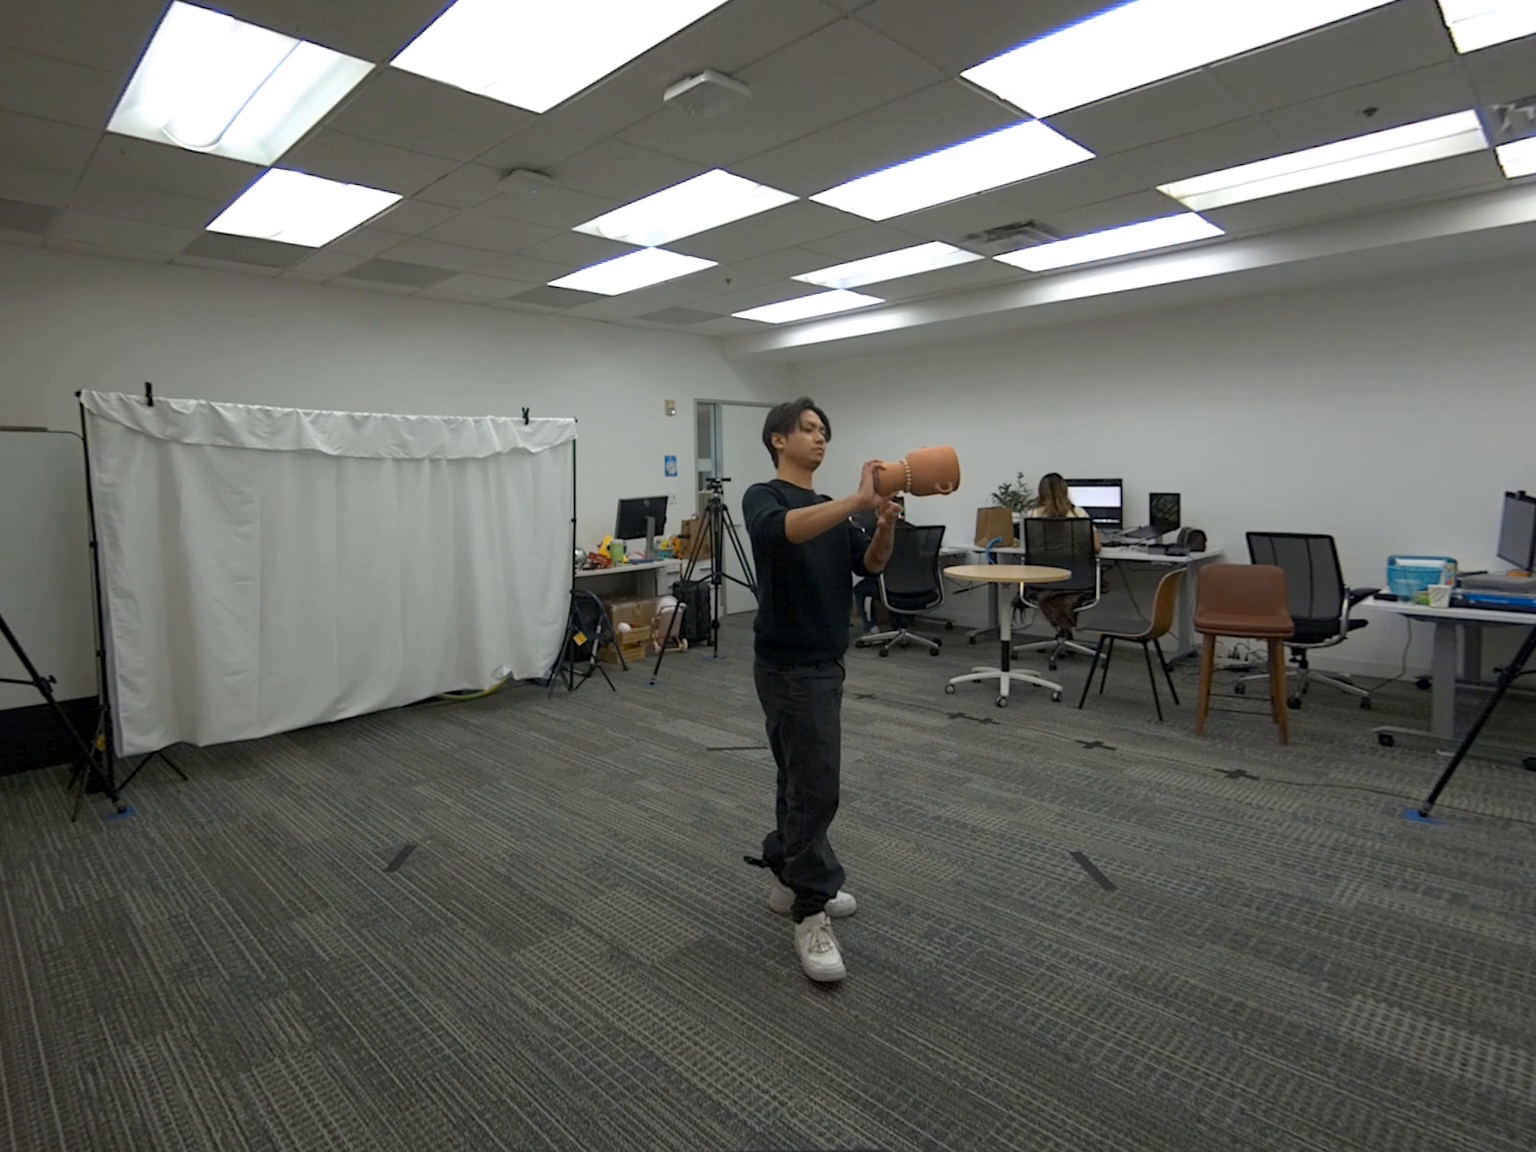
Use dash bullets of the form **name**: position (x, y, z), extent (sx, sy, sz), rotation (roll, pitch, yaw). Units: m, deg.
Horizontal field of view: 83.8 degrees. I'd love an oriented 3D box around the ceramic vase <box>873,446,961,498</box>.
- **ceramic vase**: position (0.408, -0.285, 2.387), extent (0.219, 0.134, 0.160), rotation (-10, 7, -6)
